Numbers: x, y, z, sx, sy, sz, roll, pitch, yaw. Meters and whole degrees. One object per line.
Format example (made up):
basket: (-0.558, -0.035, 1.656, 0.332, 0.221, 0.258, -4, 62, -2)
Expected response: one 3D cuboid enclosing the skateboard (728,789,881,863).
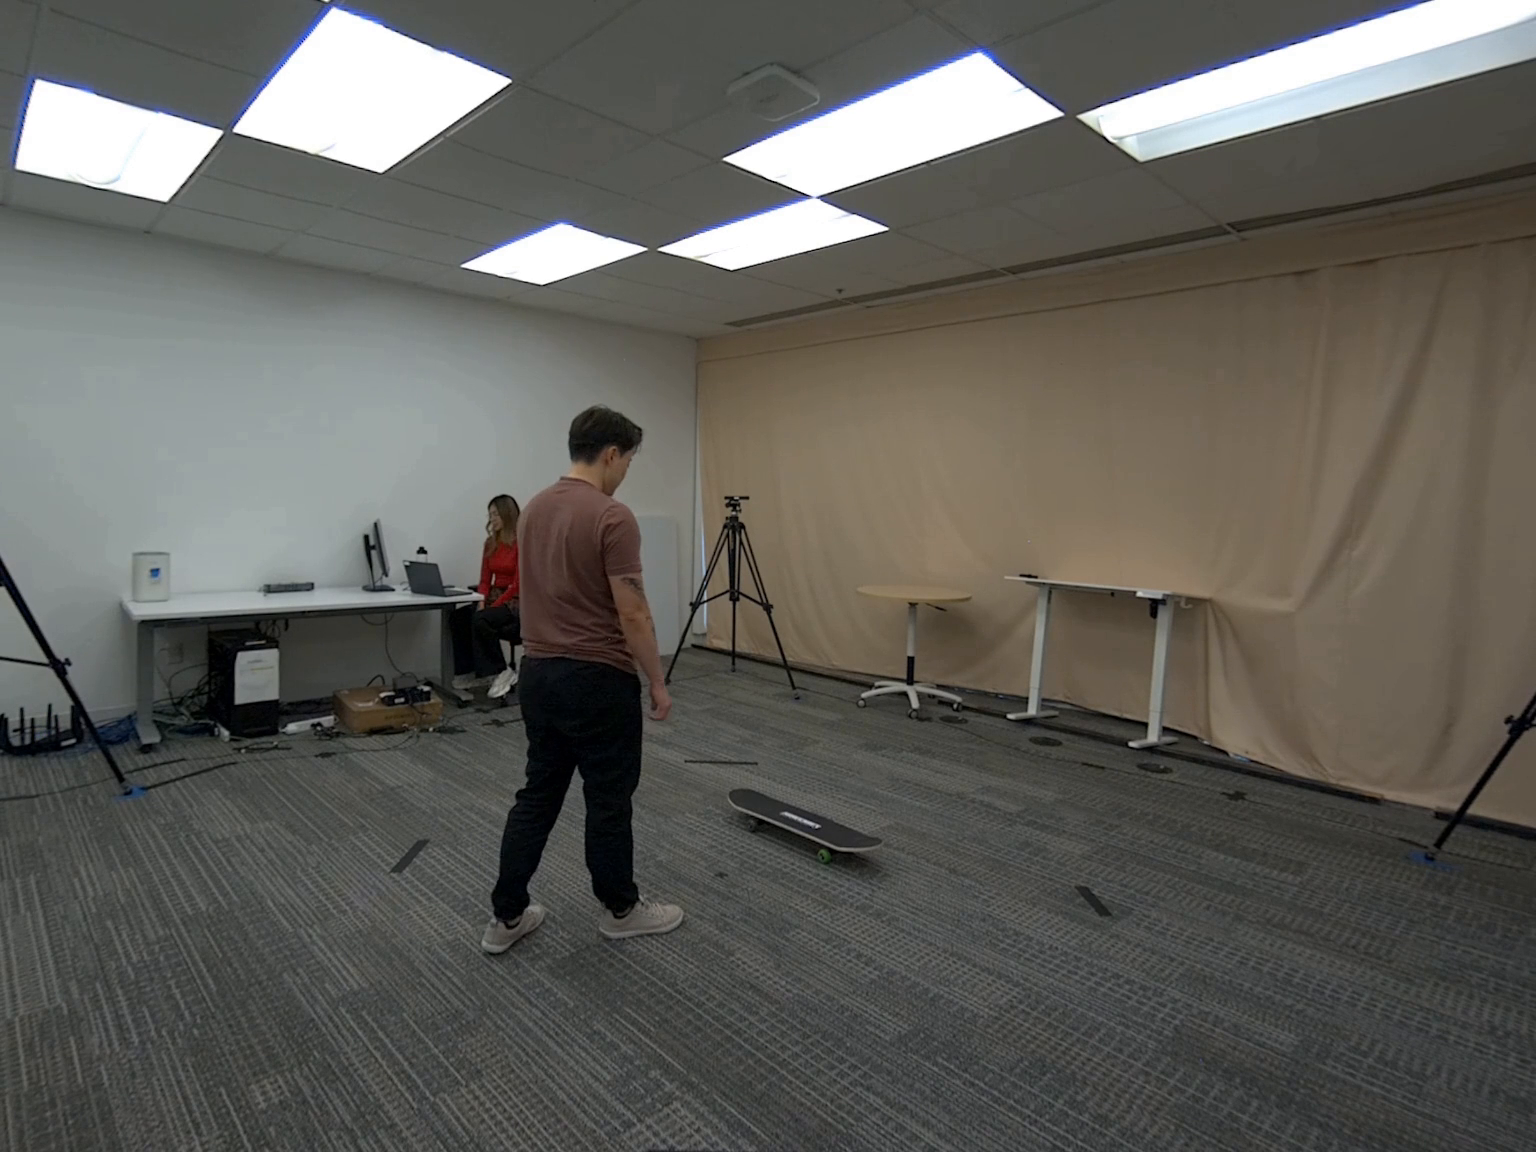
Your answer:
skateboard: (0.123, 1.027, 3.437, 0.189, 0.110, 0.806, -1, 5, -43)
